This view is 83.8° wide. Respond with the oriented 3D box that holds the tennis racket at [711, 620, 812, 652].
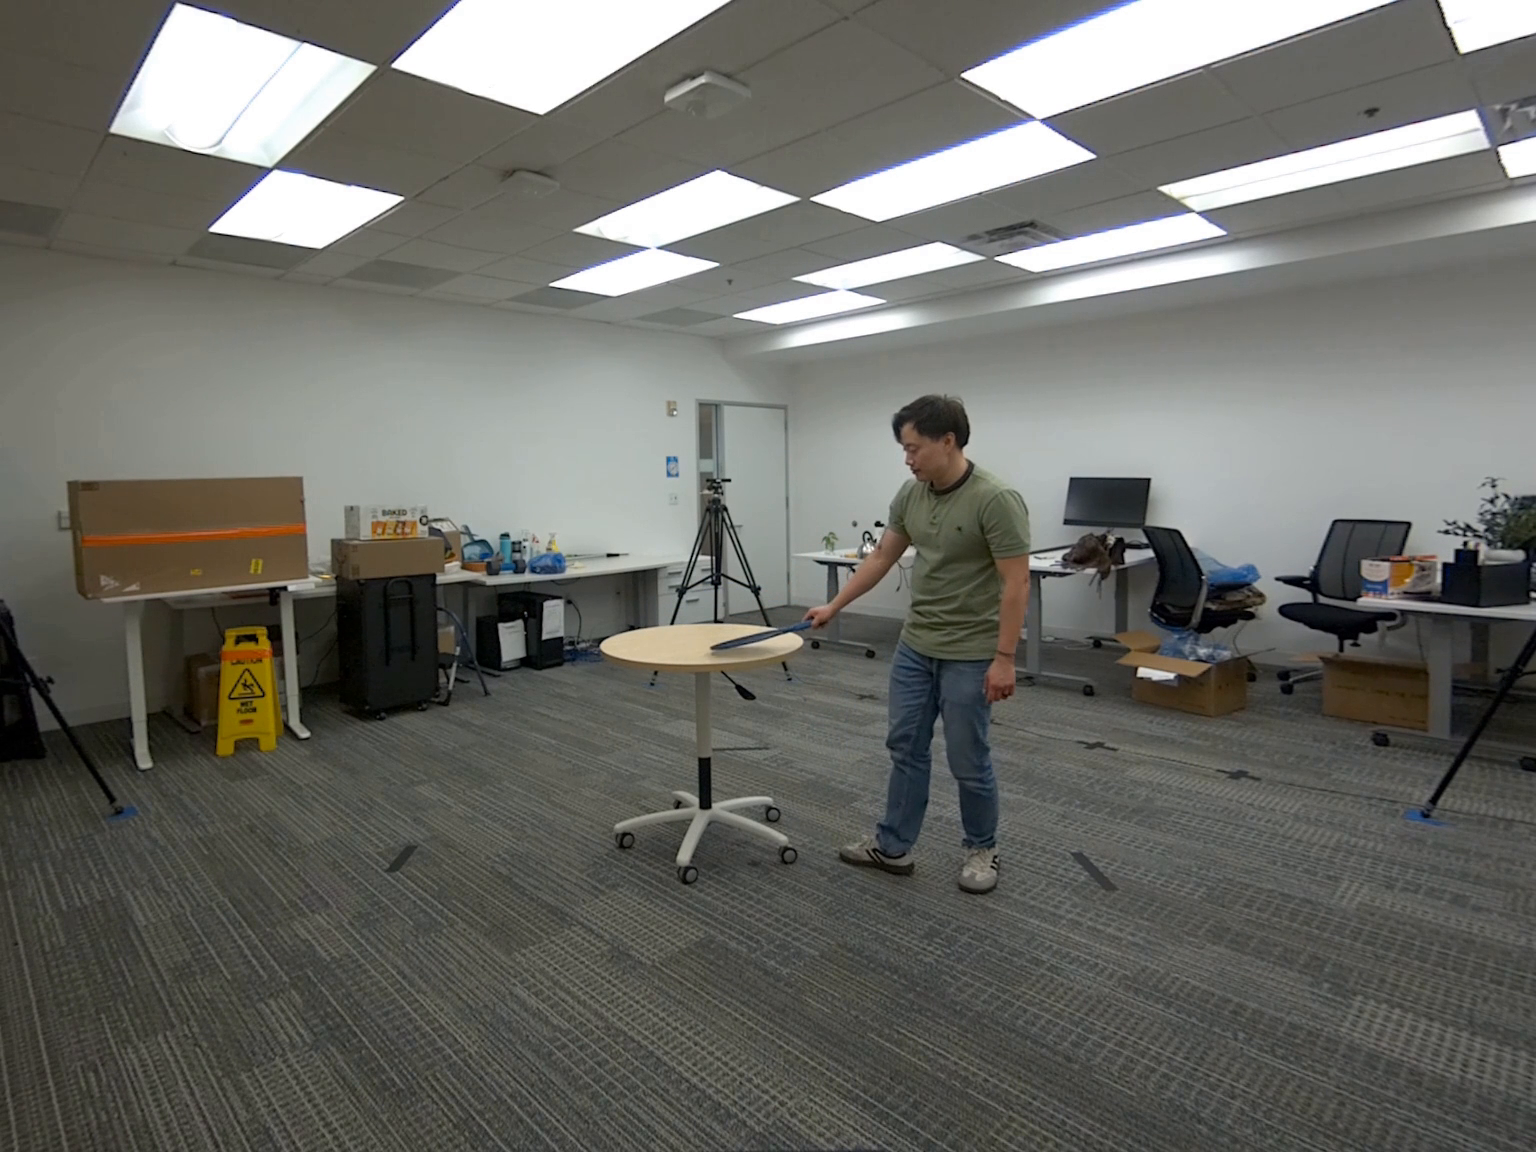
[{"bbox_3d":[0.004,0.207,3.038,0.431,0.032,0.212,-13,-10,-5],"label":"tennis racket"}]
